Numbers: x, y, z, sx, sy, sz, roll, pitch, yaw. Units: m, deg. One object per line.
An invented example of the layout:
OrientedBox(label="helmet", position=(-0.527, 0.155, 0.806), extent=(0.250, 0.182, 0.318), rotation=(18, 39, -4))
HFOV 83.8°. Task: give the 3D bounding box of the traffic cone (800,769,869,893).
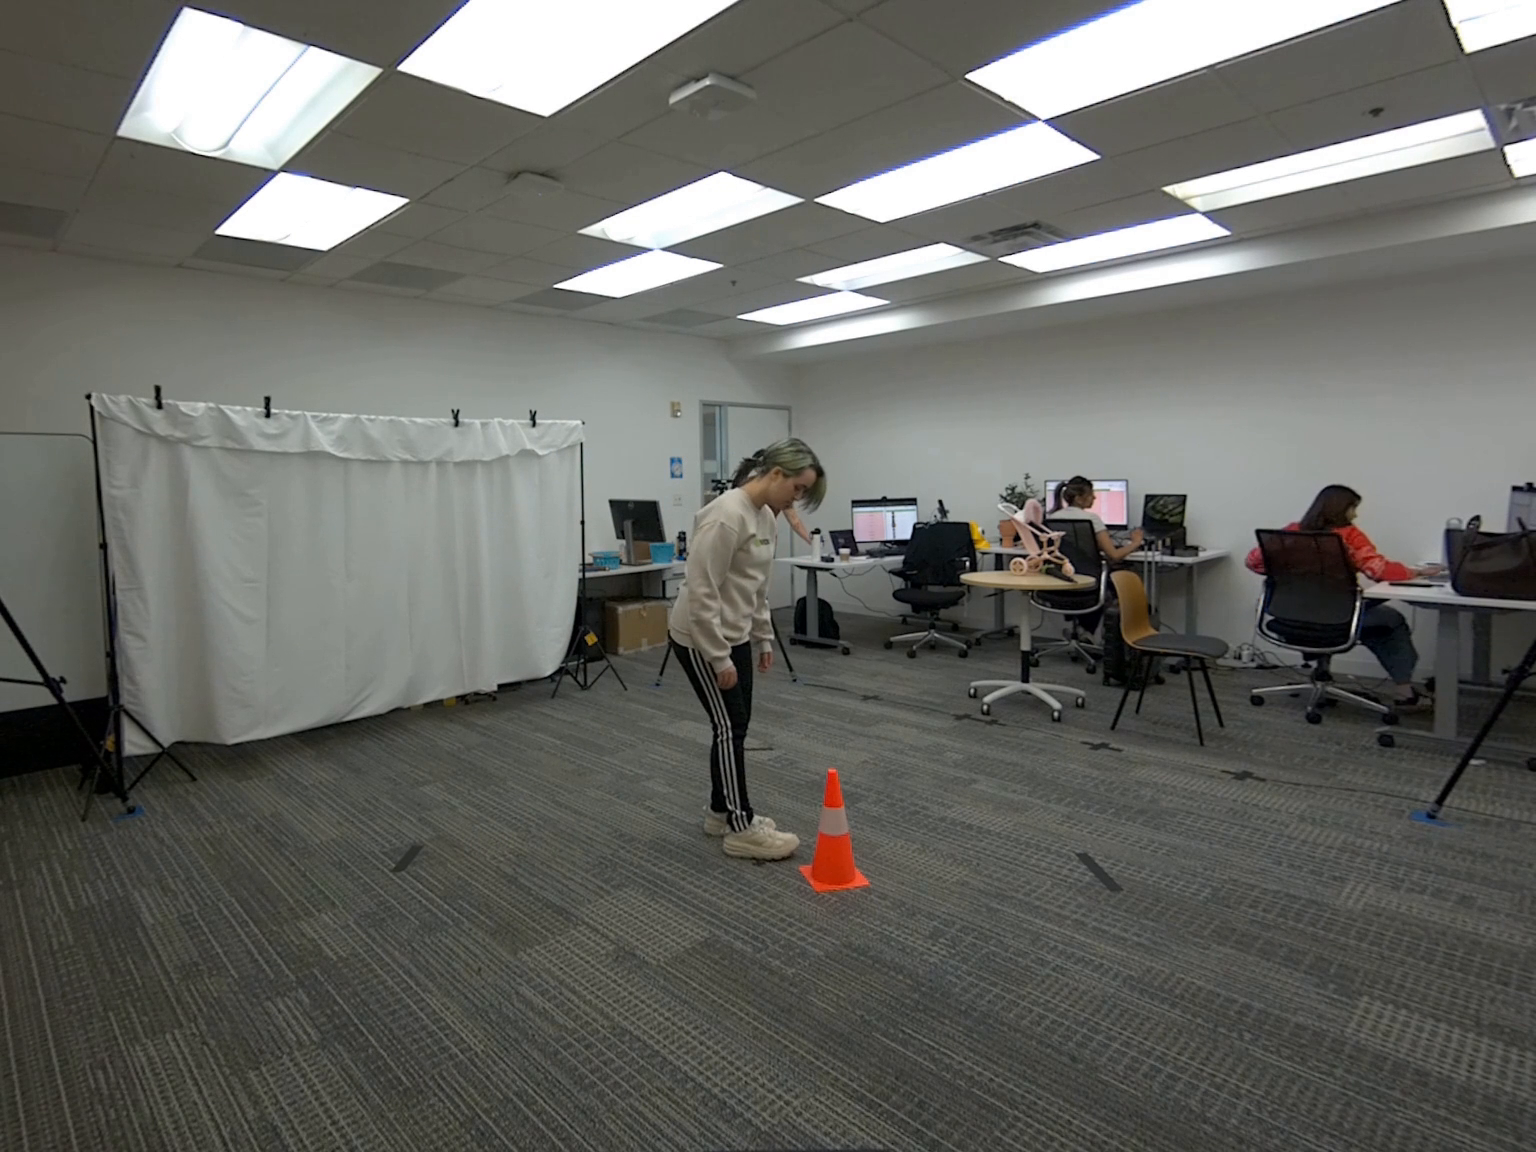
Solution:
OrientedBox(label="traffic cone", position=(0.236, 0.869, 2.987), extent=(0.202, 0.382, 0.207), rotation=(-2, 6, -13))
